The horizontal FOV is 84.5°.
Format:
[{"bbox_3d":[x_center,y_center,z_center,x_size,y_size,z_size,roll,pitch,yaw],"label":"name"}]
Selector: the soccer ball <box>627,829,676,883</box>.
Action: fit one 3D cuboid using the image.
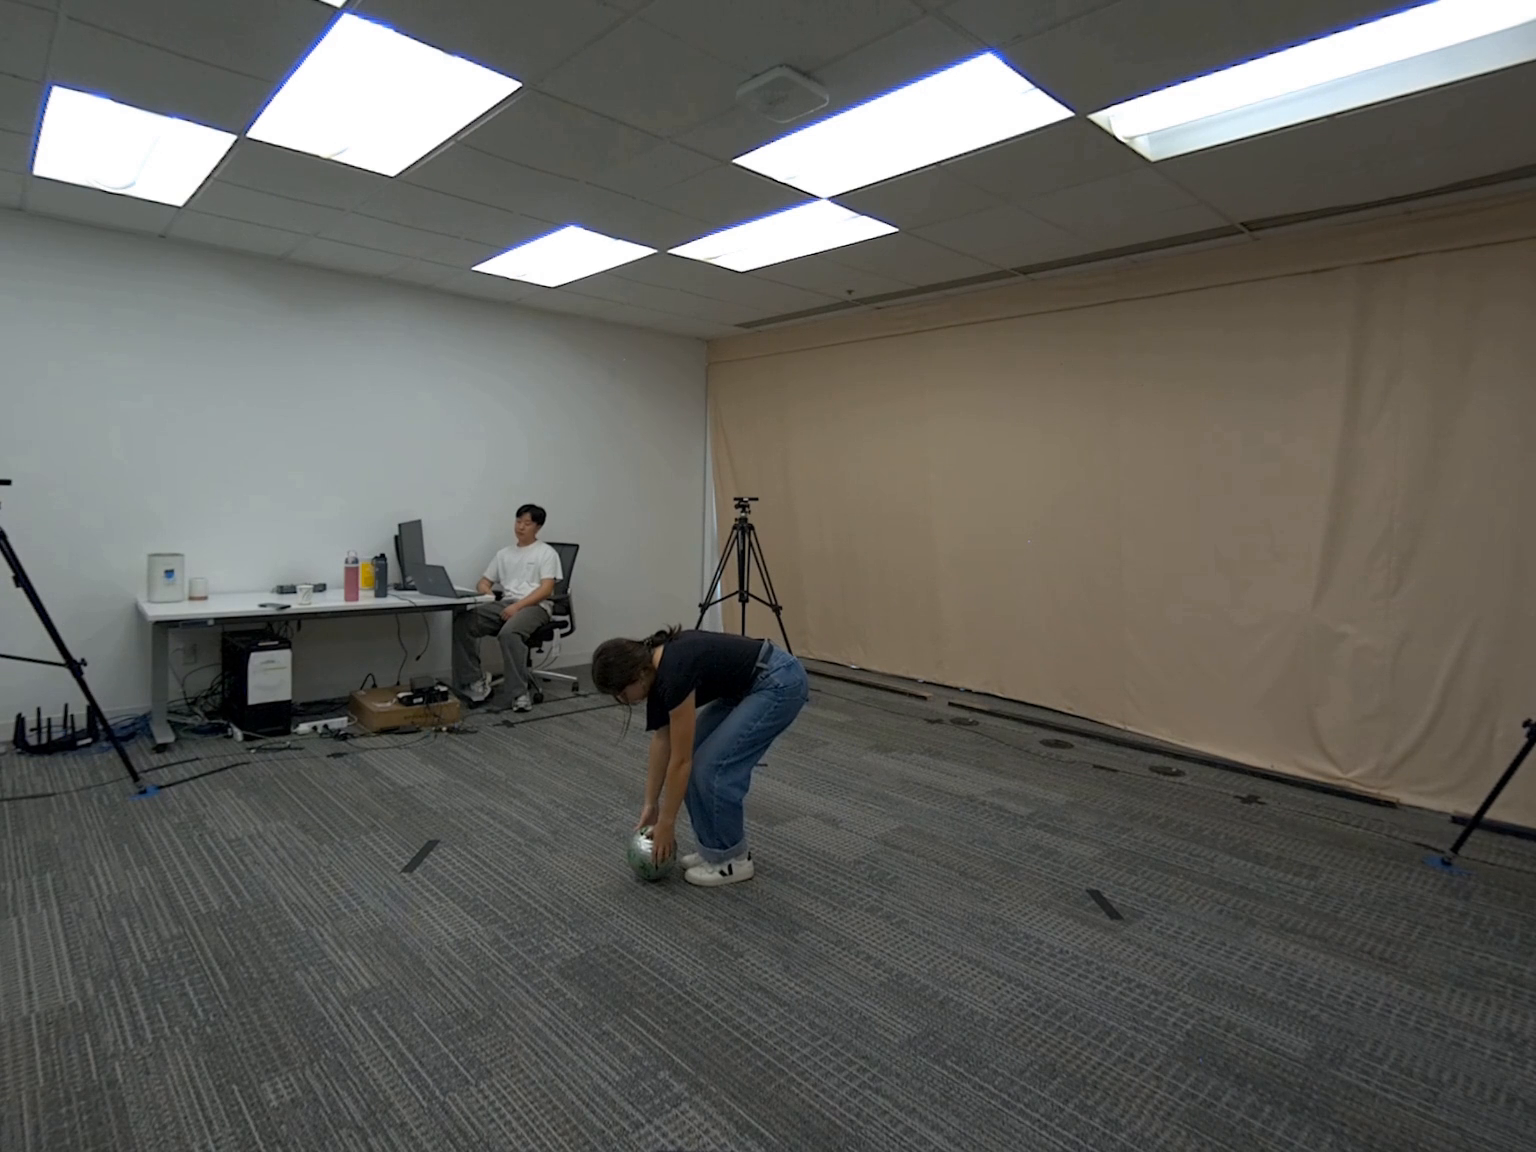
[{"bbox_3d":[-0.422,0.998,3.065,0.187,0.187,0.188,1,4,-1],"label":"soccer ball"}]
